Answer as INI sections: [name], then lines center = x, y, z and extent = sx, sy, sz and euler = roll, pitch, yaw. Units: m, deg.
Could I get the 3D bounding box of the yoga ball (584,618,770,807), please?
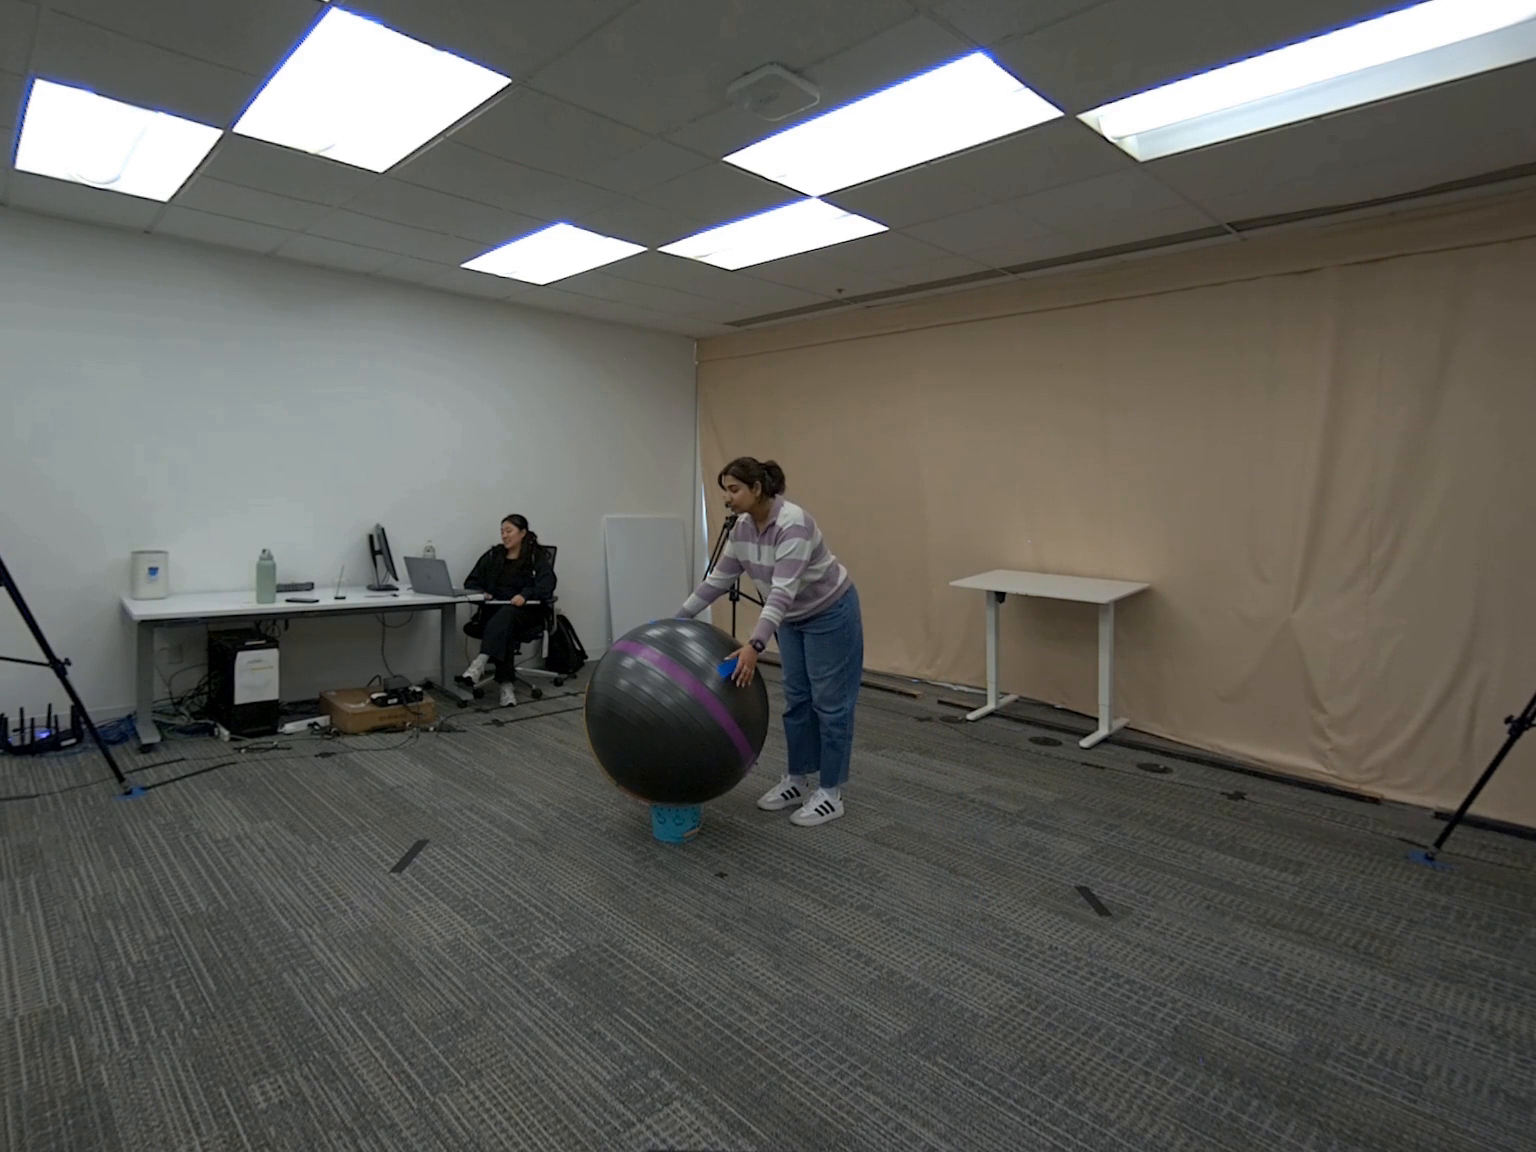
[yoga ball]
center = -0.381, 0.560, 3.470
extent = 0.757, 0.756, 0.761
euler = 1, 4, -1
